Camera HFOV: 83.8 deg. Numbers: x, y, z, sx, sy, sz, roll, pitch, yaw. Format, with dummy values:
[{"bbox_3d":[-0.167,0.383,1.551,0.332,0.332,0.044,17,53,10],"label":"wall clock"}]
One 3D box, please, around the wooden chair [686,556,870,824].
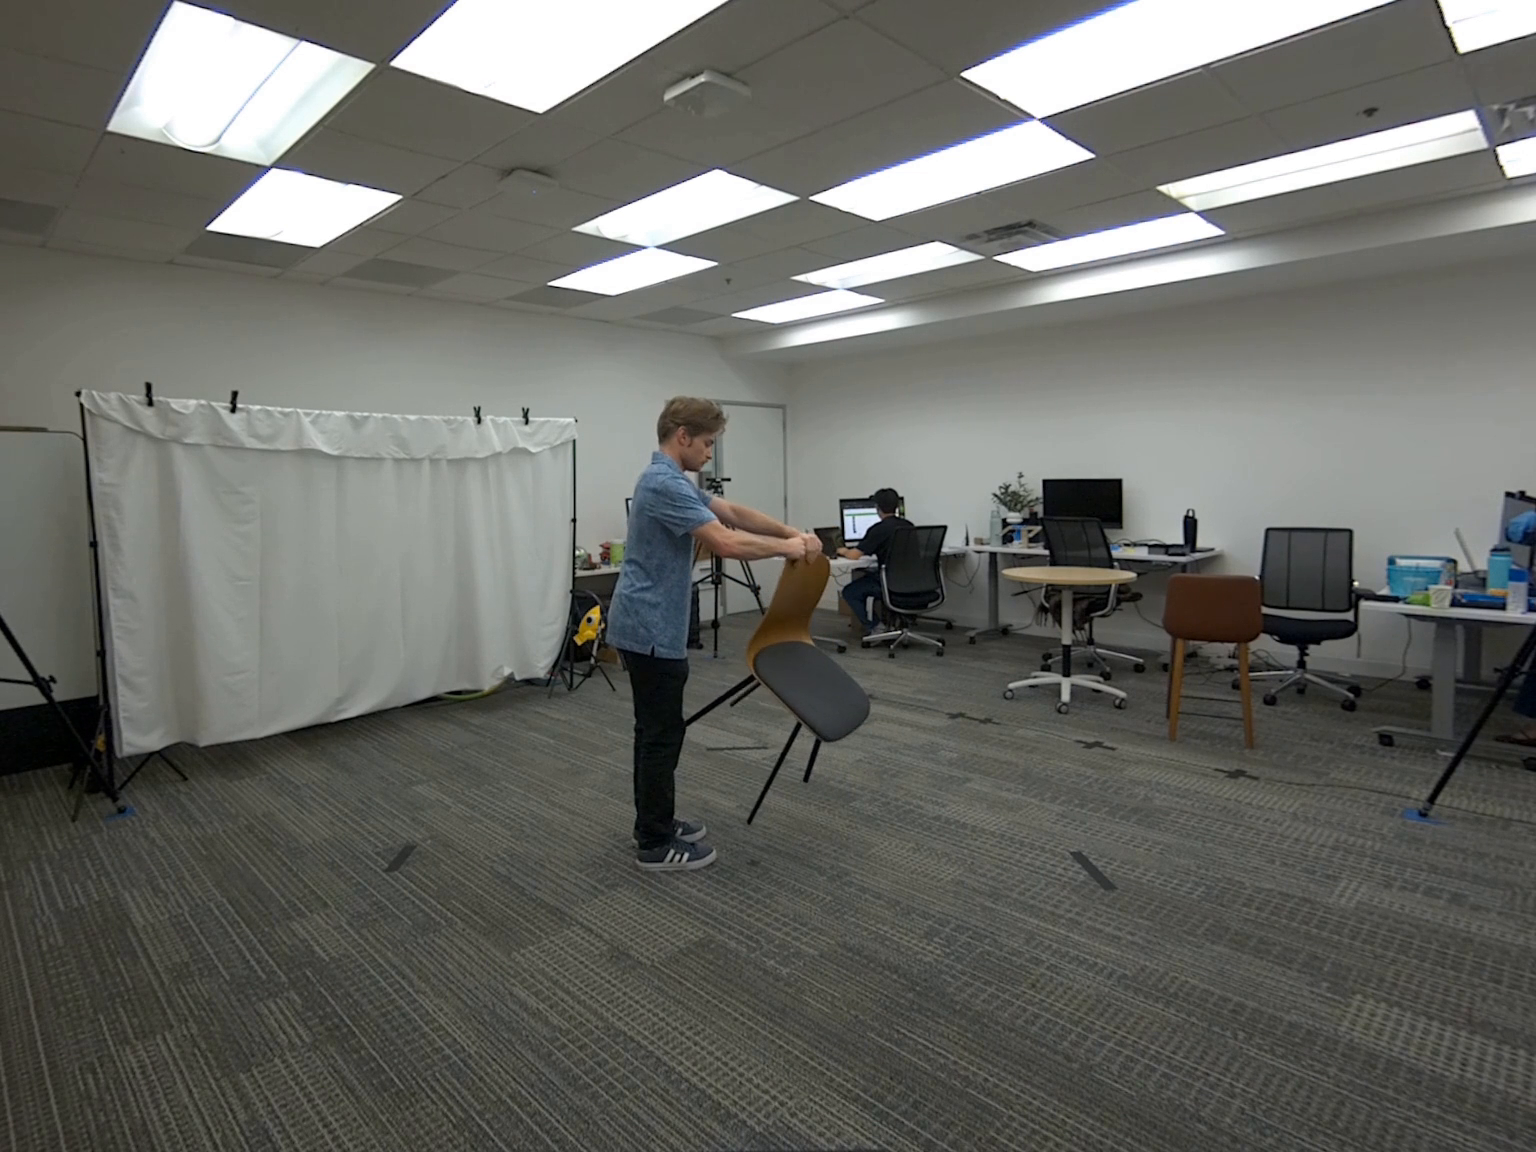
[{"bbox_3d":[0.116,0.409,3.181,0.539,0.871,0.468,39,24,23],"label":"wooden chair"}]
